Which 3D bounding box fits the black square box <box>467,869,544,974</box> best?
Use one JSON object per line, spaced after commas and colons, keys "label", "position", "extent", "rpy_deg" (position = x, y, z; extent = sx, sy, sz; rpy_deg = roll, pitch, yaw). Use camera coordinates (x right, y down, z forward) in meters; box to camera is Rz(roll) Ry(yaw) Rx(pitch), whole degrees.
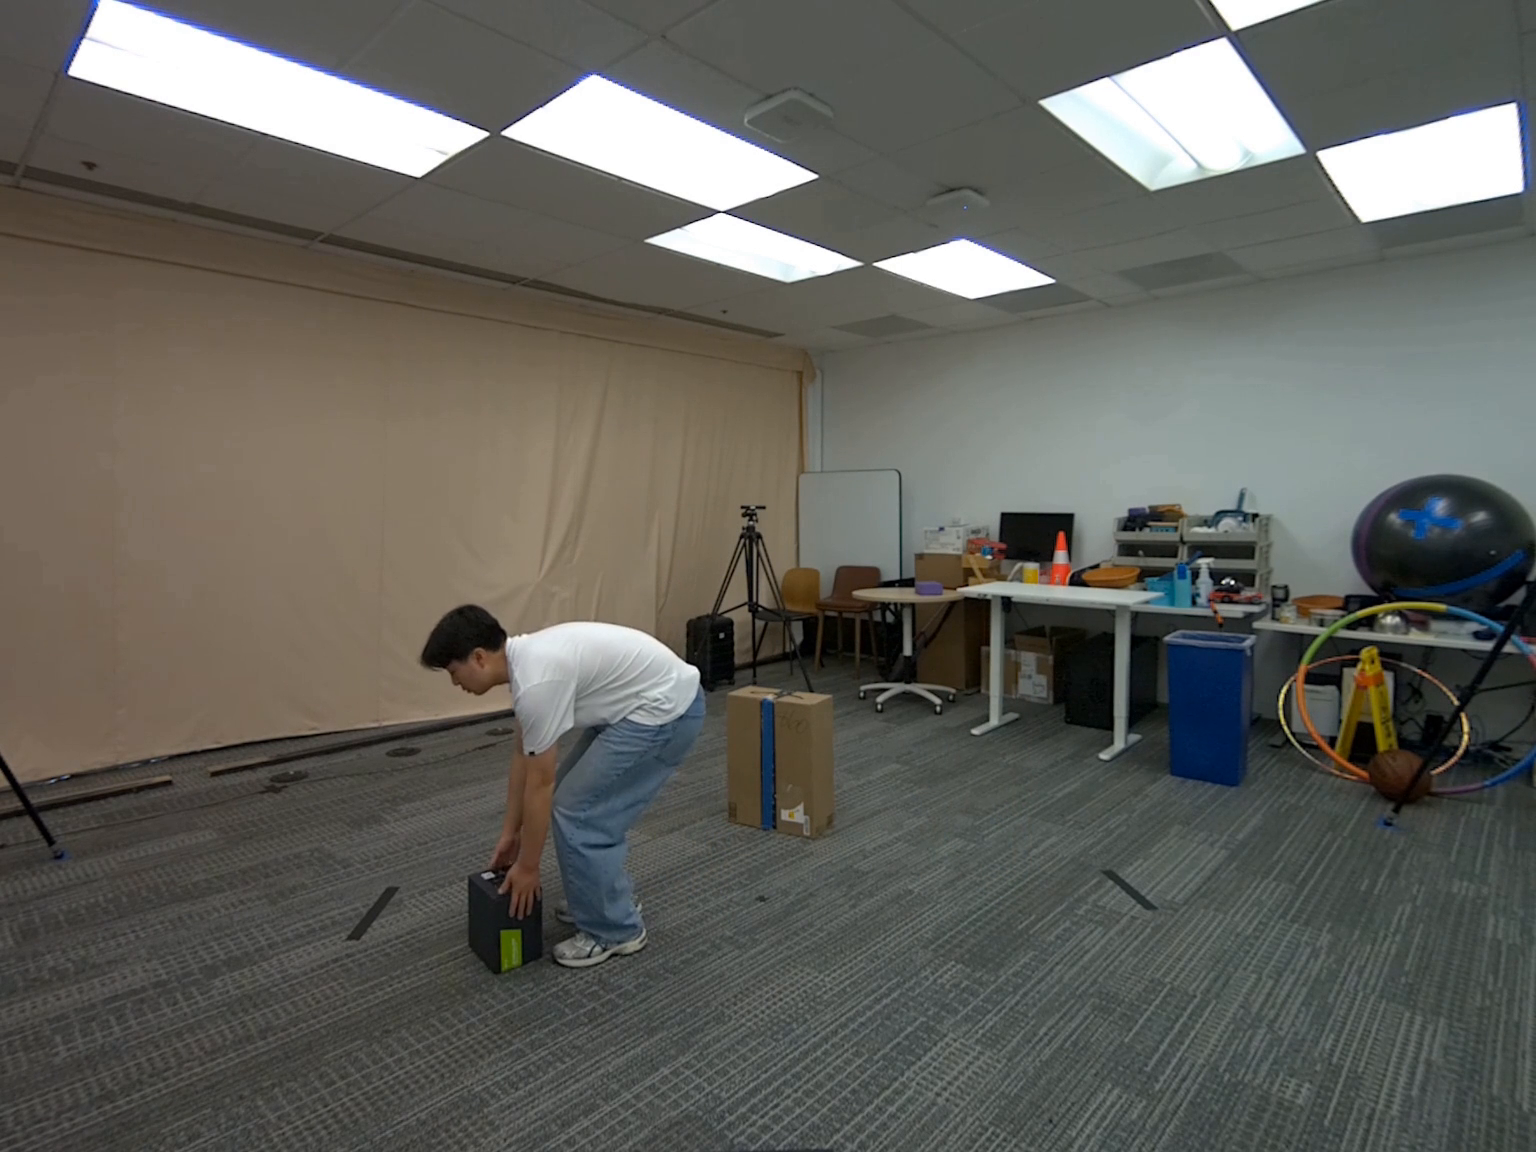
{"label": "black square box", "position": [-0.824, 1.056, 2.628], "extent": [0.151, 0.227, 0.224], "rpy_deg": [-2, 4, -38]}
